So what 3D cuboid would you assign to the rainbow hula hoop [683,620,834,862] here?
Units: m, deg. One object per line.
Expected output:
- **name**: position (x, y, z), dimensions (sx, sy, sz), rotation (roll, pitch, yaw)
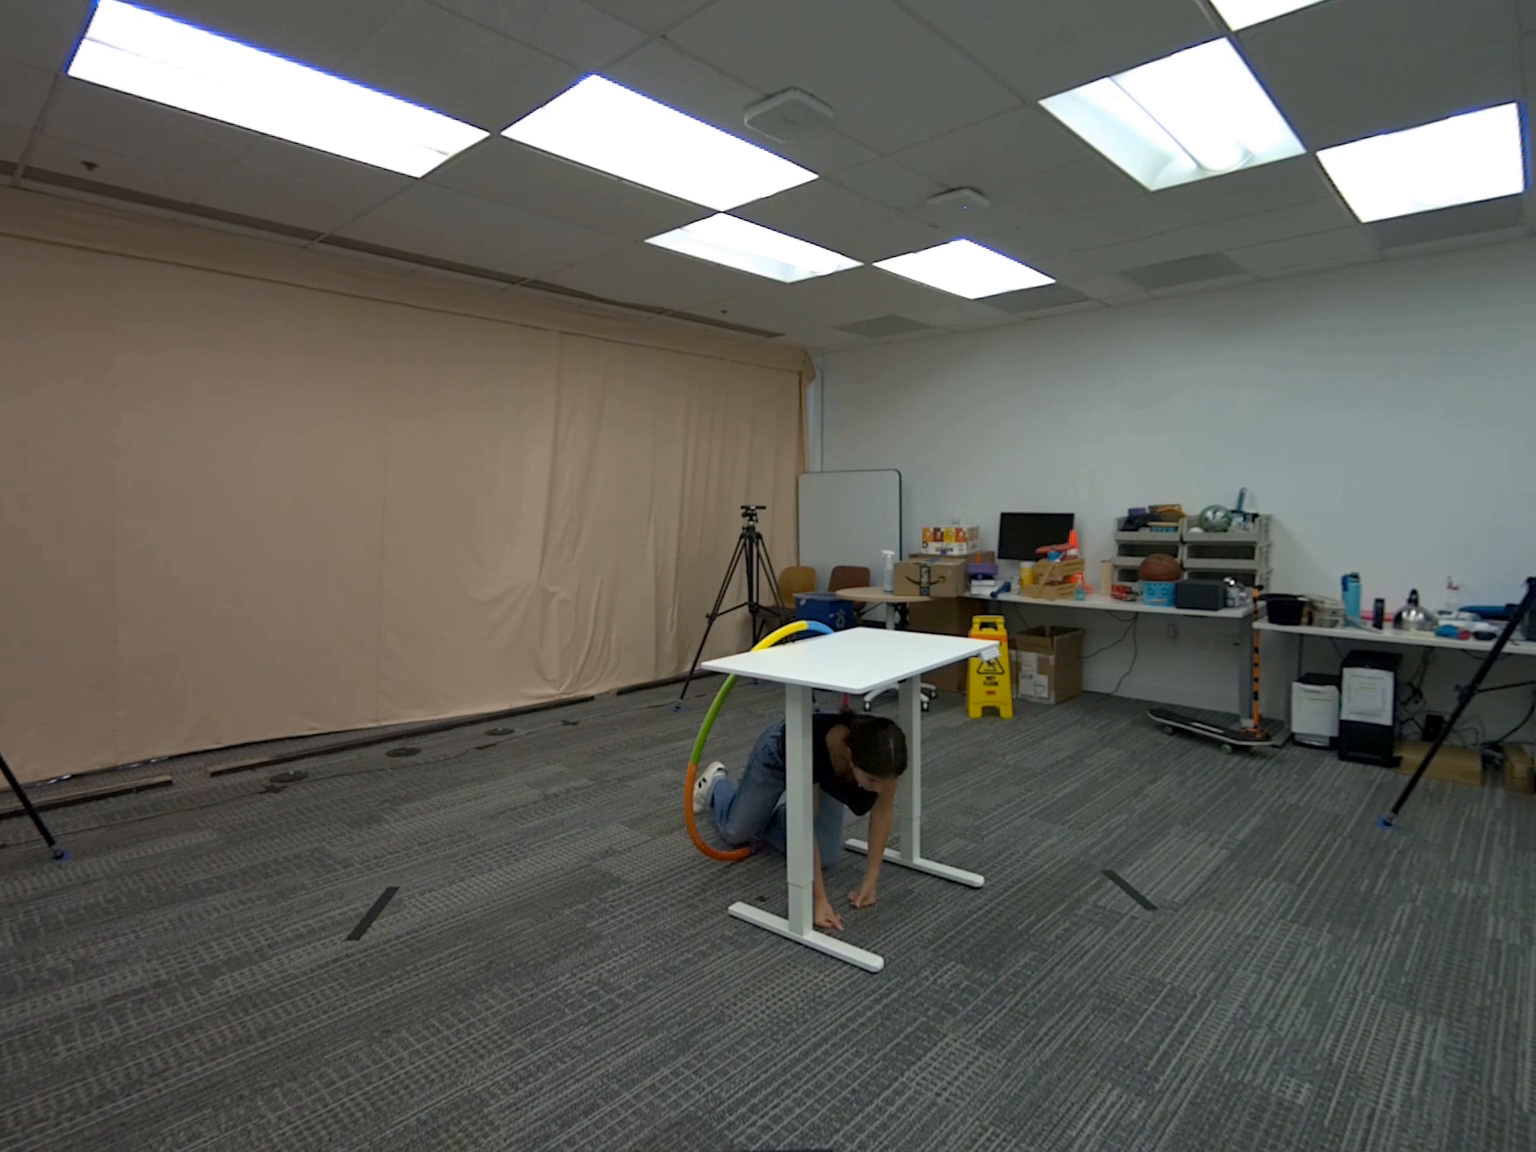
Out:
- **rainbow hula hoop**: position (0.033, 0.649, 3.274), dimensions (0.037, 0.973, 0.949), rotation (21, 15, 35)
